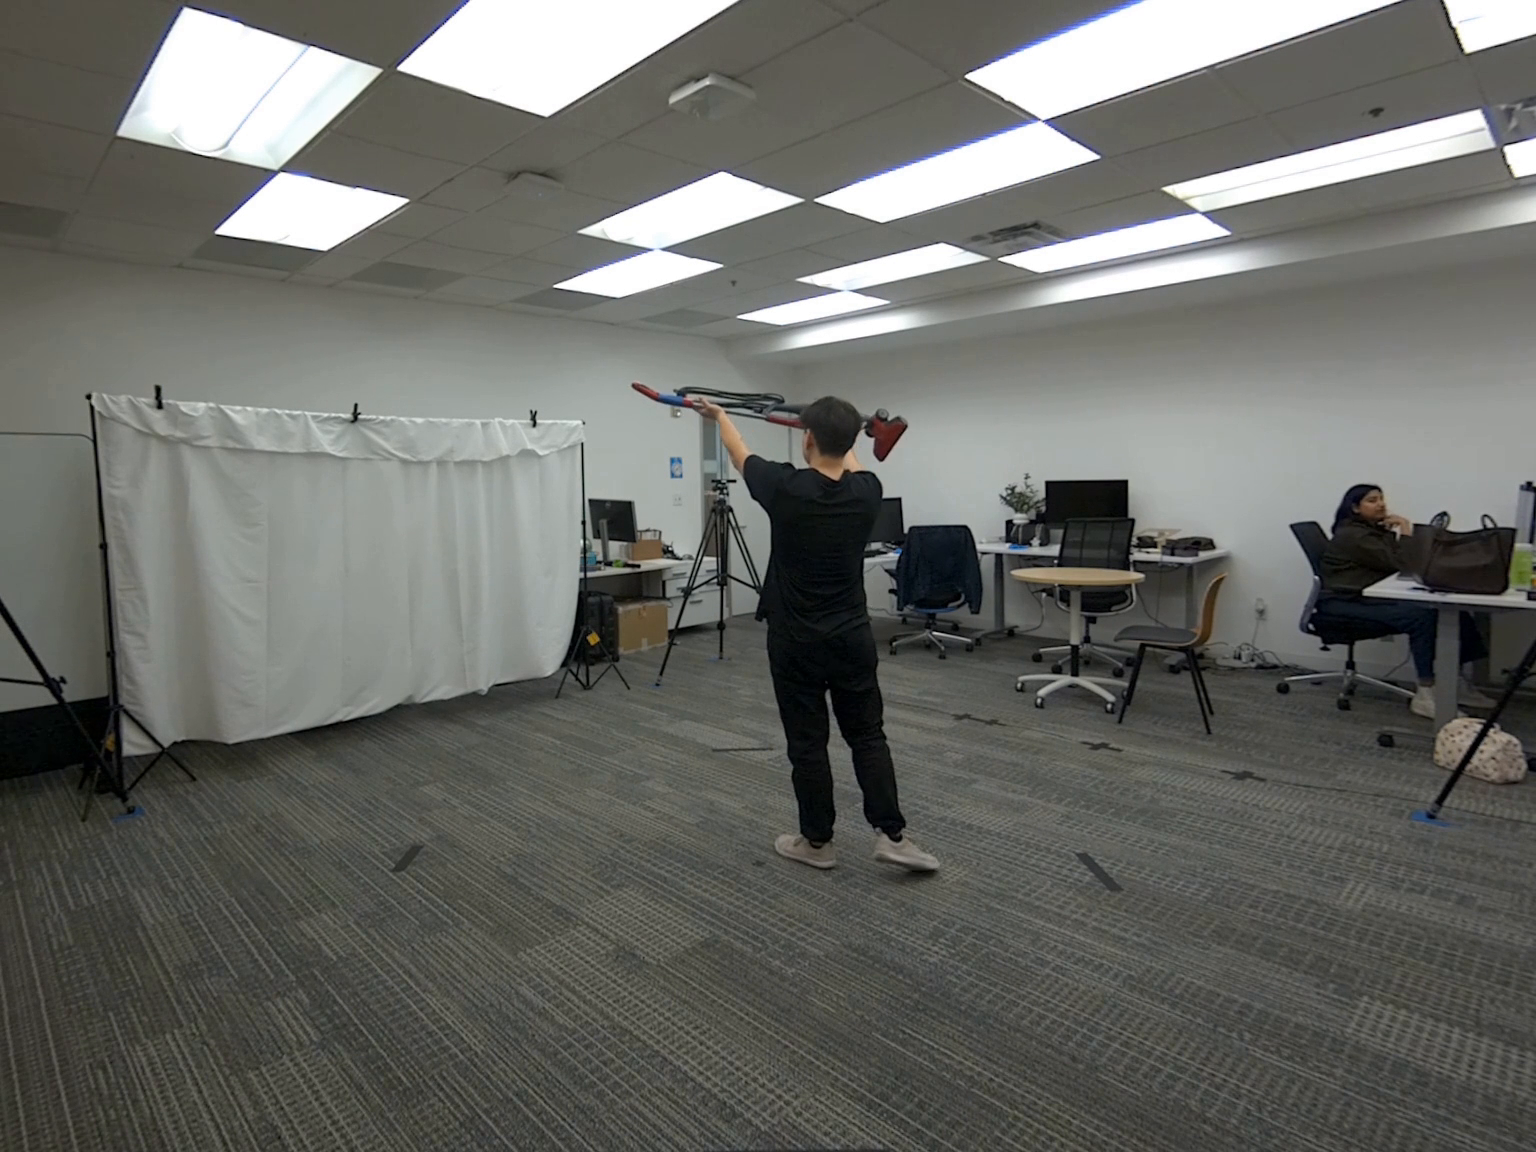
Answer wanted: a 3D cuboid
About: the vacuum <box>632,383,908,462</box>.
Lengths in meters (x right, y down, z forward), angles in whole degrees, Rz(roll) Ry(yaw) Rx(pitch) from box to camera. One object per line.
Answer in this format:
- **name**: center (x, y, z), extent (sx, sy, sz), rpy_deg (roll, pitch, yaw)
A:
- **vacuum**: center (-0.006, -0.666, 3.410), extent (1.036, 0.147, 0.250), rpy_deg (10, -32, -11)
